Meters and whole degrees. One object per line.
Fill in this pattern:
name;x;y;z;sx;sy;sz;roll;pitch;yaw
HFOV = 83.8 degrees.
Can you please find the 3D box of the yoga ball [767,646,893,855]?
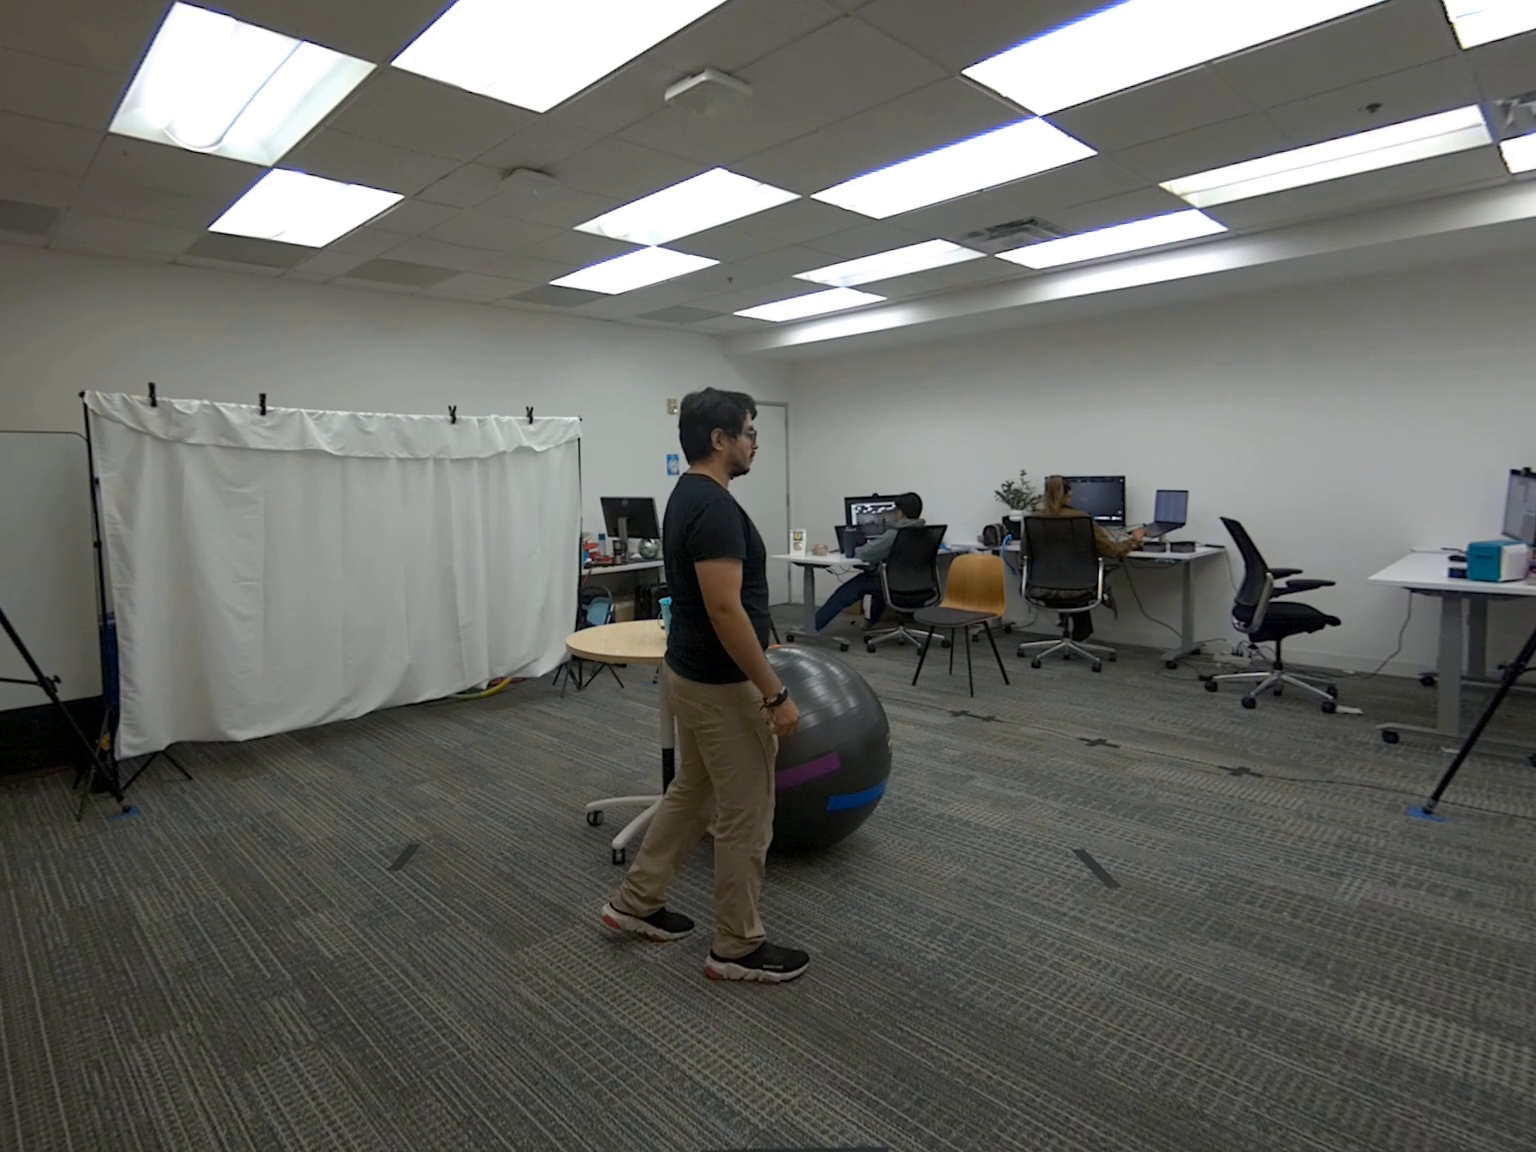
yoga ball;0.090;0.651;3.233;0.757;0.755;0.762;-1;5;-2
